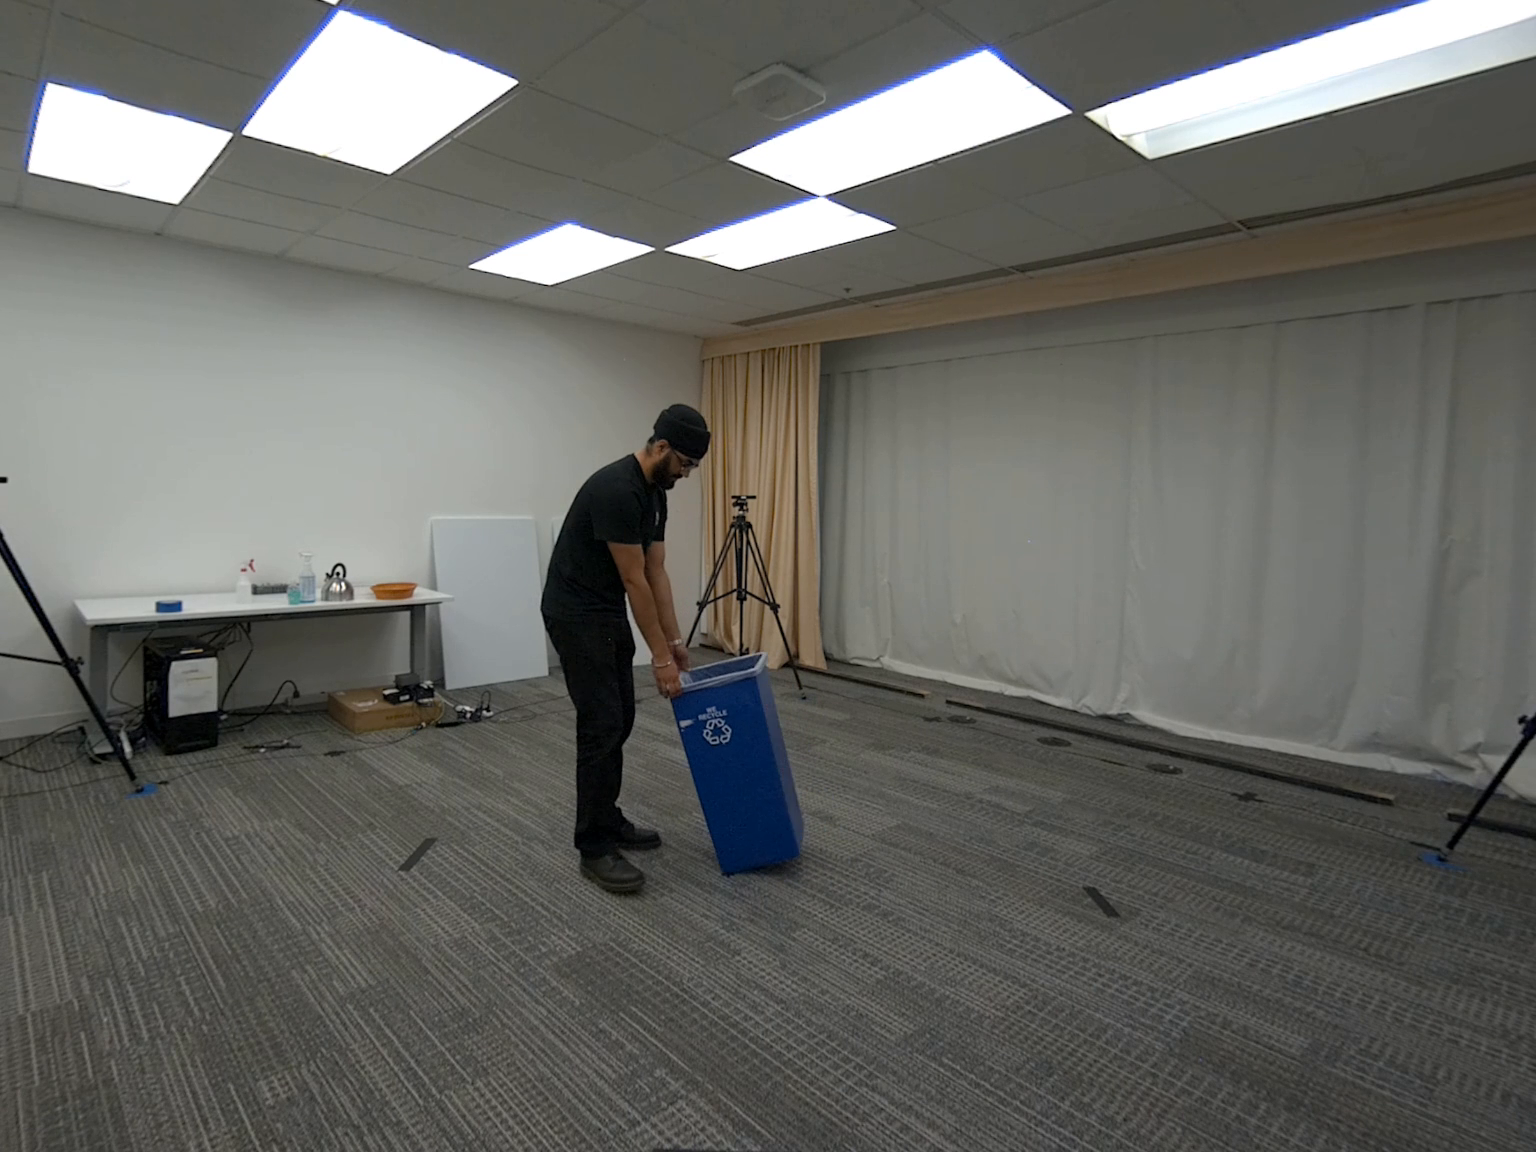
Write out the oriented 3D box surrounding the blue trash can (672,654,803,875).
[{"bbox_3d":[-0.127,0.714,3.221,0.375,0.713,0.377,-14,1,6],"label":"blue trash can"}]
